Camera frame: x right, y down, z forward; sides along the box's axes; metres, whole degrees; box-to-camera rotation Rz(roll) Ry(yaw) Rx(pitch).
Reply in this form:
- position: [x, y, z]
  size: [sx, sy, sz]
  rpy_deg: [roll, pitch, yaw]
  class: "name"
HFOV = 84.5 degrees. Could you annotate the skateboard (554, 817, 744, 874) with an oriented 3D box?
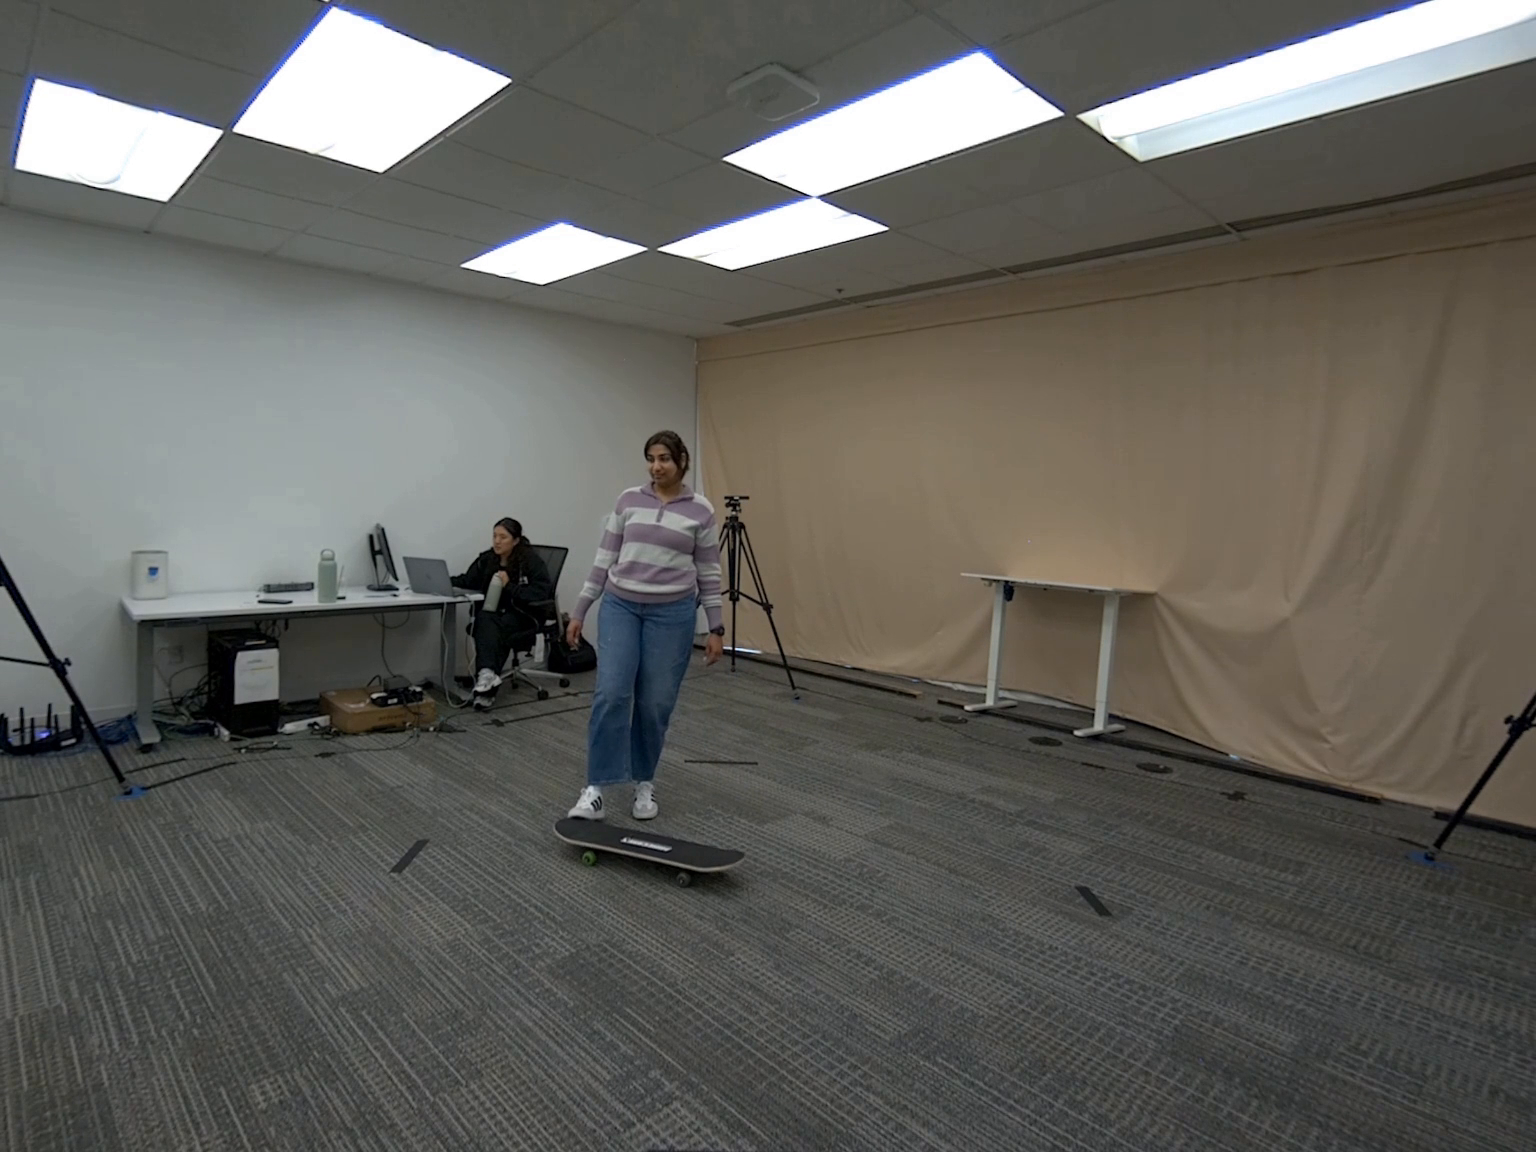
- position: [-0.456, 1.035, 3.152]
  size: [0.800, 0.110, 0.190]
  rpy_deg: [3, 5, 23]
  class: "skateboard"
